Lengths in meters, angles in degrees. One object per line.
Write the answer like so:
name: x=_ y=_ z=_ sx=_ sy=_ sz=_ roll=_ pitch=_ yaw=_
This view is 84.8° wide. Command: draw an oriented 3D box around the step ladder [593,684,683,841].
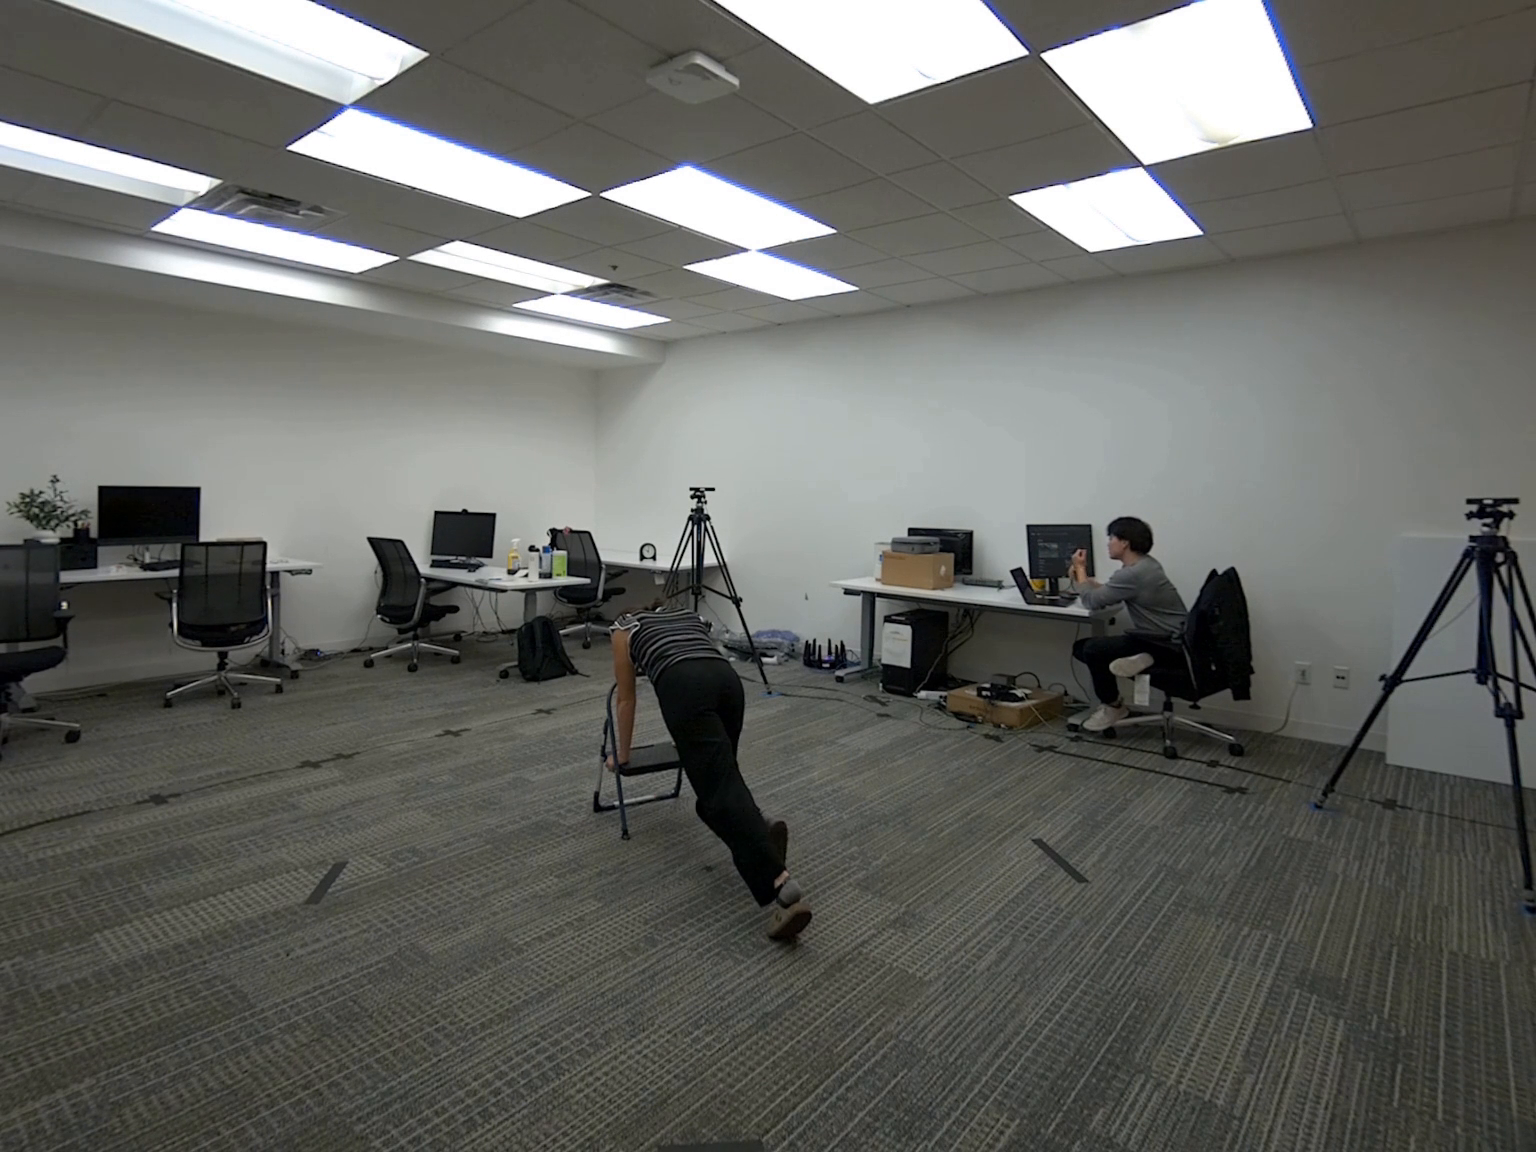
step ladder: x=-0.495 y=0.714 z=3.593 sx=0.418 sy=0.605 sz=0.360 roll=-1 pitch=3 yaw=-33
